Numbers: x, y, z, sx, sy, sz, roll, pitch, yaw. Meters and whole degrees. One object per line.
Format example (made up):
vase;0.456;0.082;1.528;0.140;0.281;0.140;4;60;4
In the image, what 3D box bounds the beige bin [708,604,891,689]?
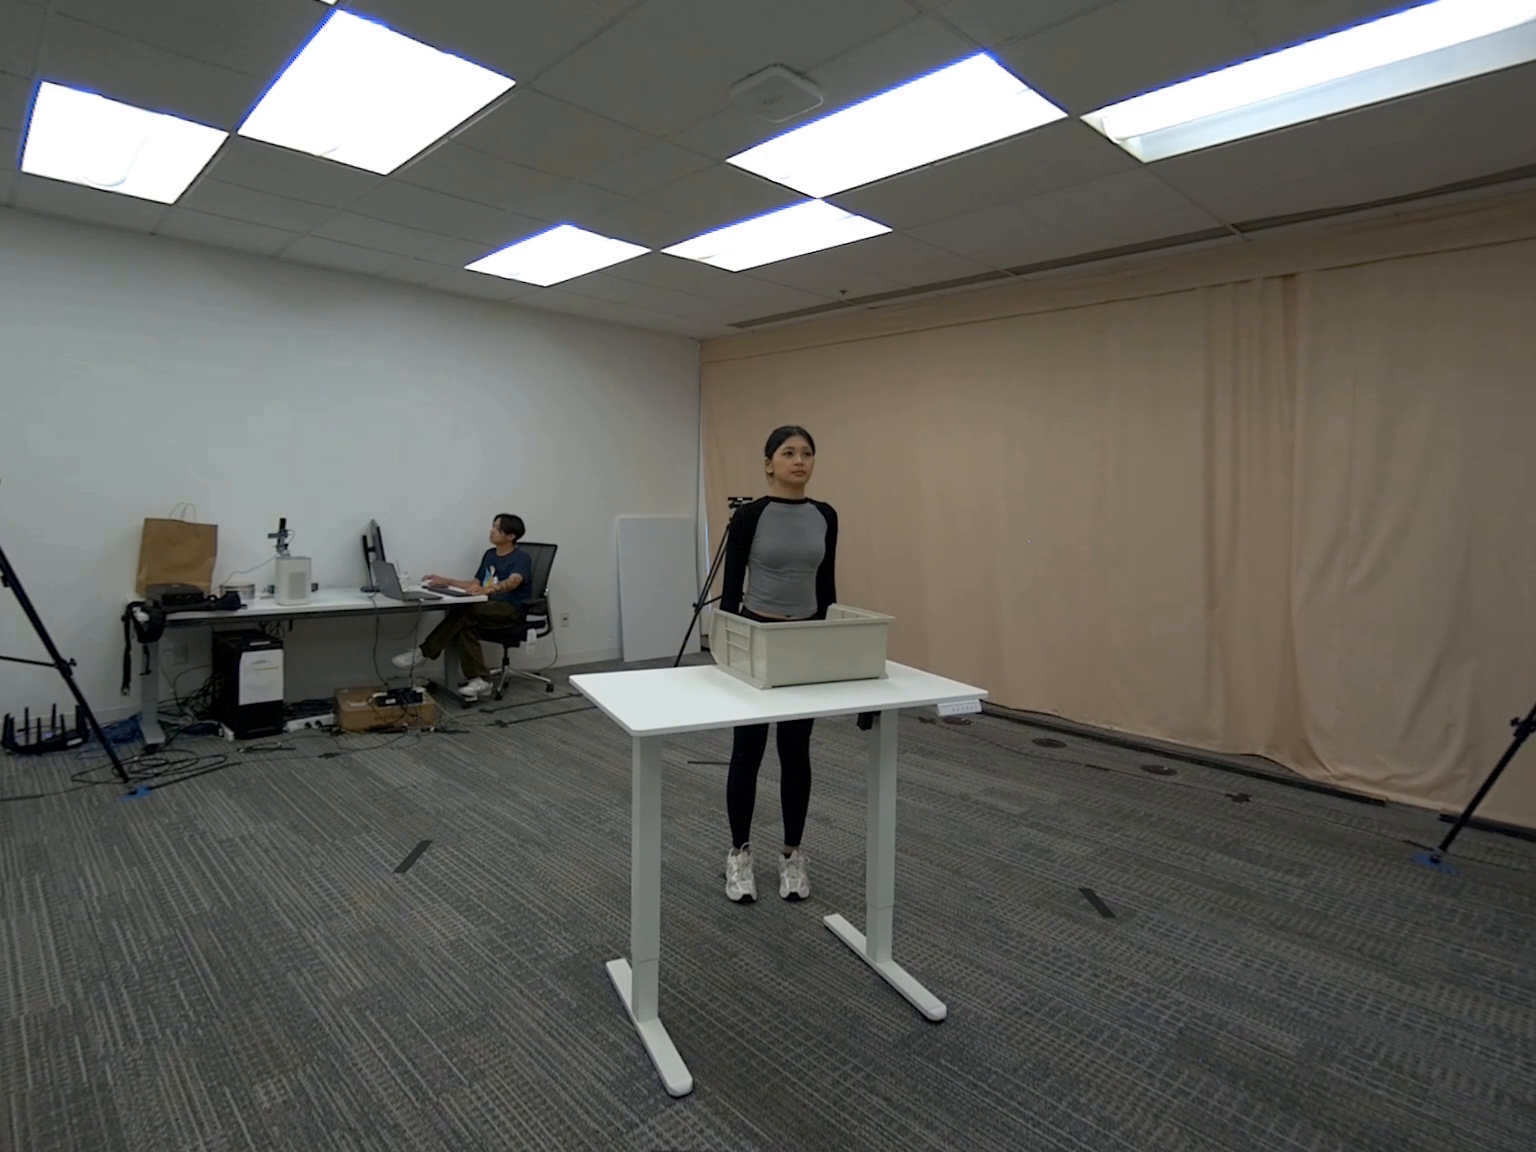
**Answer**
beige bin;0.080;0.197;2.493;0.415;0.188;0.385;-1;6;-25
